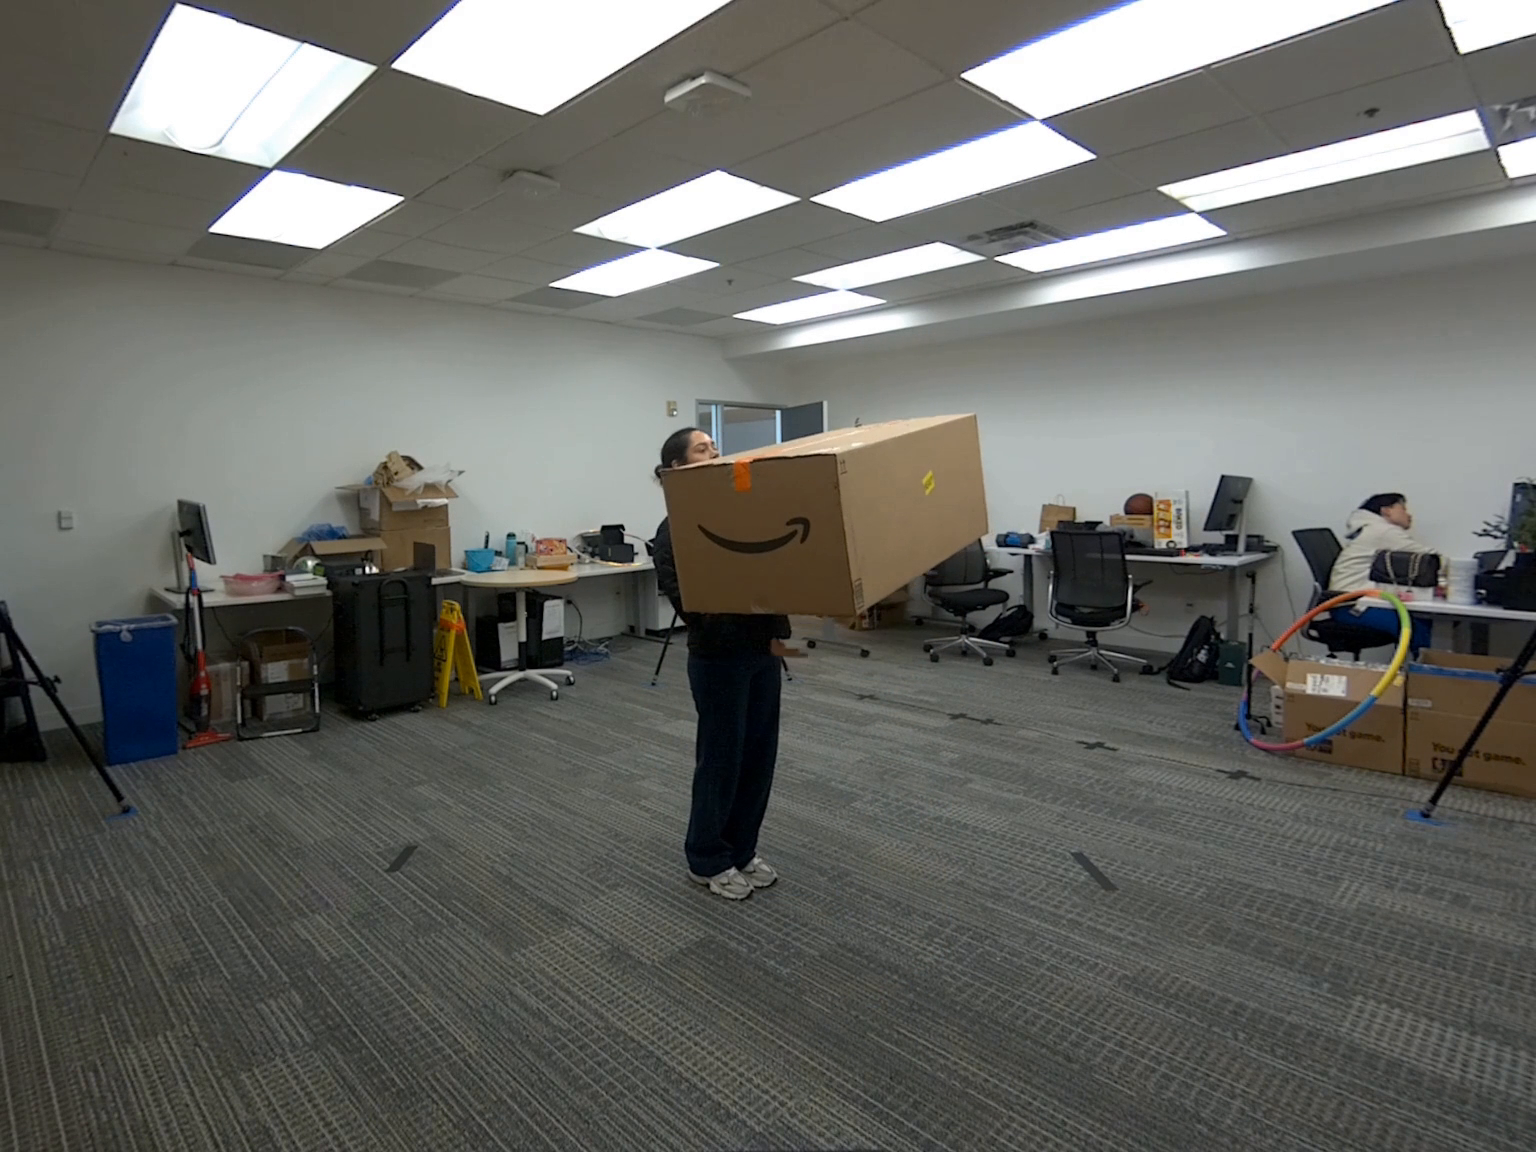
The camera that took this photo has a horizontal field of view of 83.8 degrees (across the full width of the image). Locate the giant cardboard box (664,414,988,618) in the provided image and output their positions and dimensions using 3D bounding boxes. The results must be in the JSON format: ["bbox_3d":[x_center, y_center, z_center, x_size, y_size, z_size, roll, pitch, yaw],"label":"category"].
[{"bbox_3d":[0.232,-0.225,2.730,0.593,0.422,1.009,-1,13,34],"label":"giant cardboard box"}]
